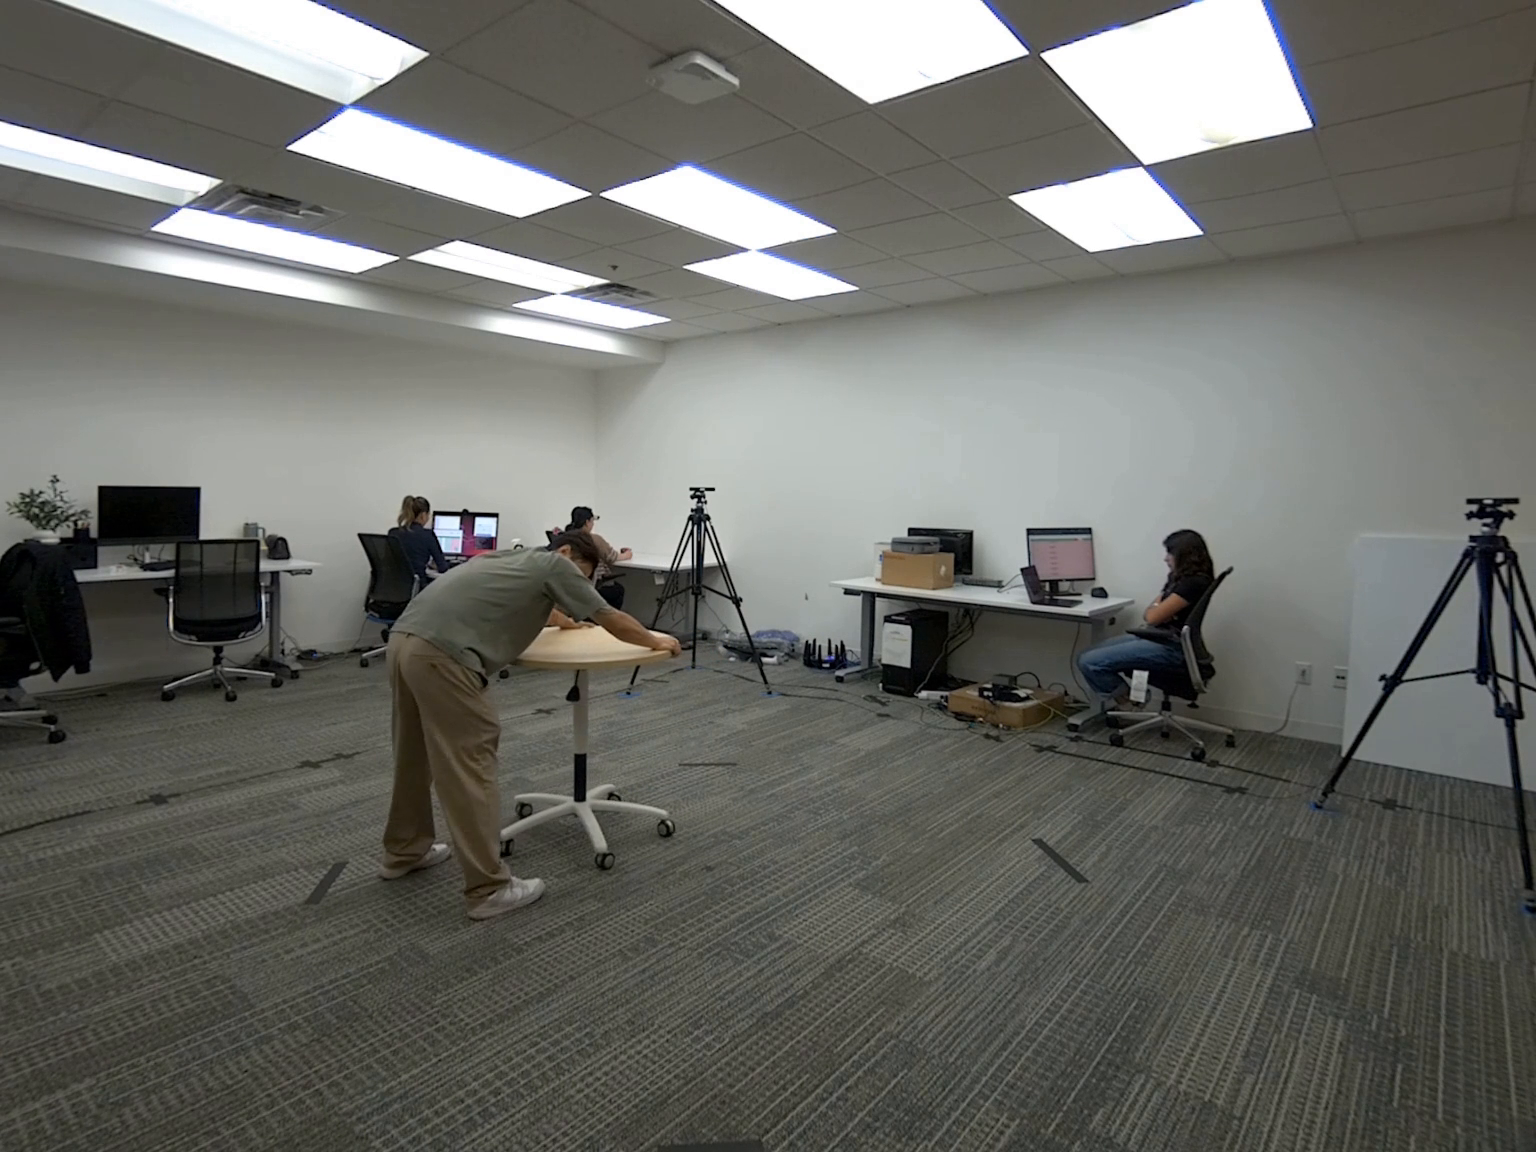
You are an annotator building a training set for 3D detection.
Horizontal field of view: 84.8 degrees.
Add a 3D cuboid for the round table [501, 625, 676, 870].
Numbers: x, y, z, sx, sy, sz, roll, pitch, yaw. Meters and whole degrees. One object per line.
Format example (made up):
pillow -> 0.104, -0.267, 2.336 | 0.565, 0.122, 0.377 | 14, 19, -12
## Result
round table -> -0.761, 0.643, 3.388 | 0.784, 0.784, 0.789 | 1, 4, -2
